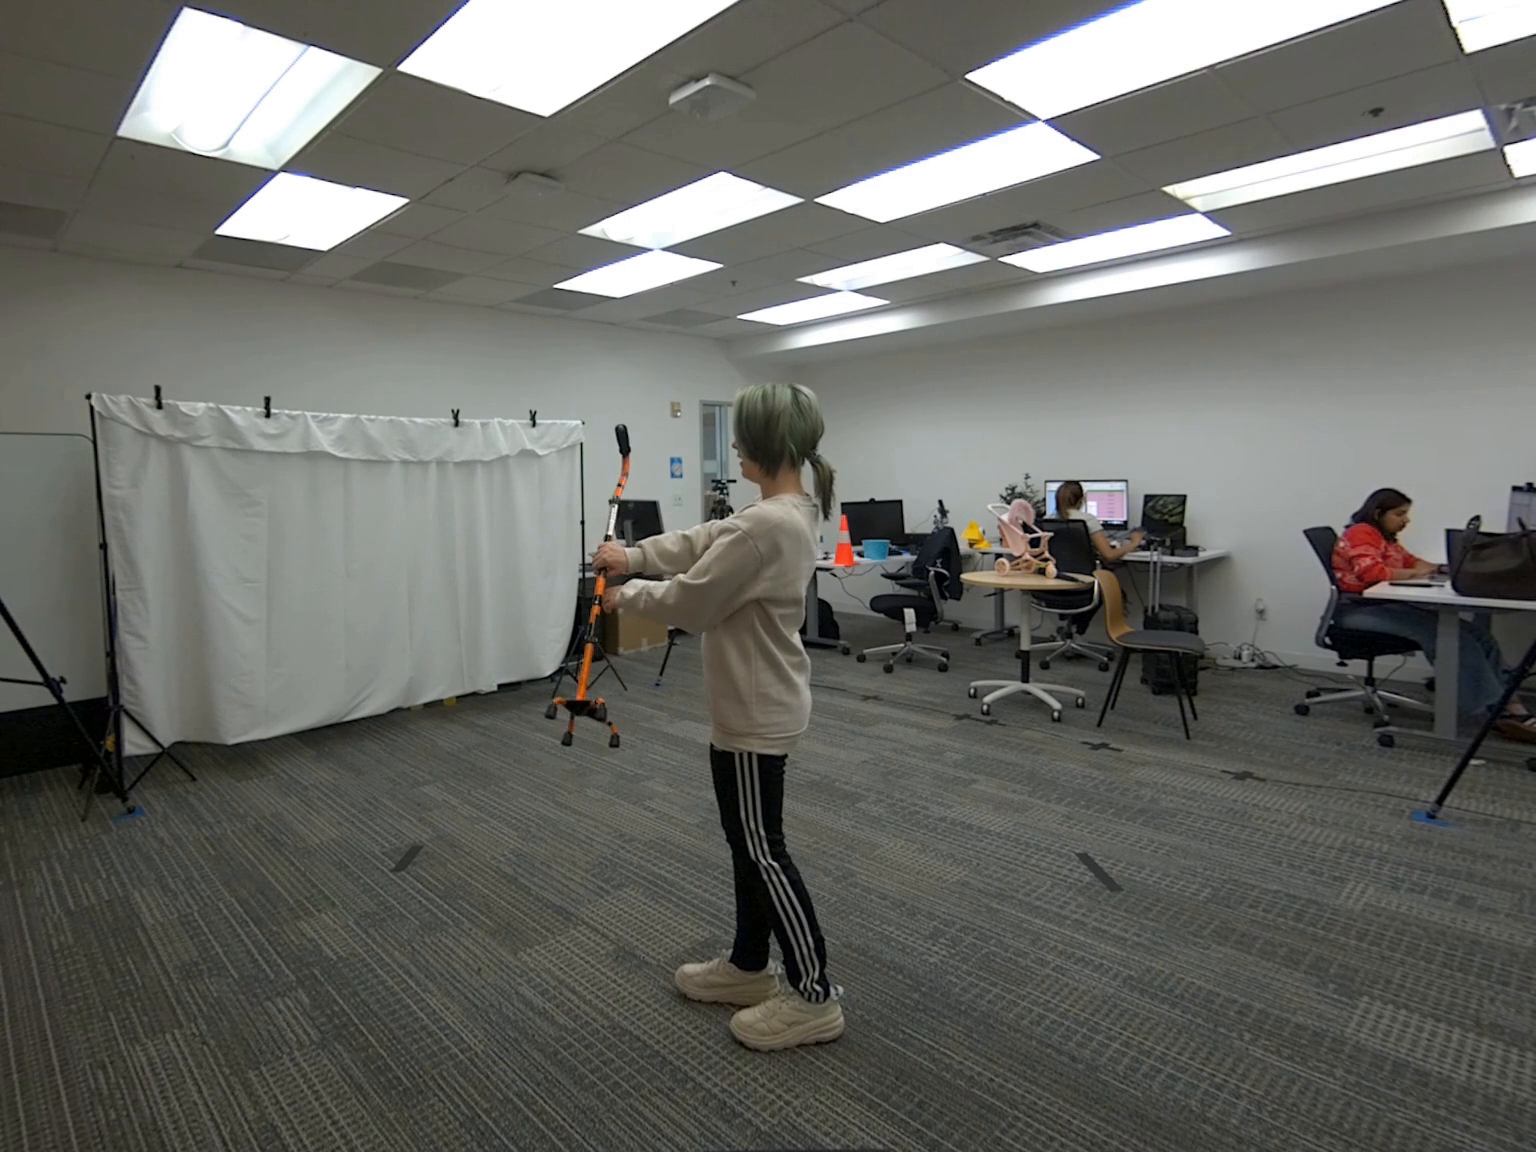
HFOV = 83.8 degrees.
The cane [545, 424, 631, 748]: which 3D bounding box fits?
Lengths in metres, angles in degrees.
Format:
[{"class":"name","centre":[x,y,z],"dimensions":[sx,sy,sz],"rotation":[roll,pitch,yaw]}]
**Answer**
[{"class":"cane","centre":[-0.432,-0.007,2.326],"dimensions":[0.152,0.930,0.201],"rotation":[1,-33,1]}]
